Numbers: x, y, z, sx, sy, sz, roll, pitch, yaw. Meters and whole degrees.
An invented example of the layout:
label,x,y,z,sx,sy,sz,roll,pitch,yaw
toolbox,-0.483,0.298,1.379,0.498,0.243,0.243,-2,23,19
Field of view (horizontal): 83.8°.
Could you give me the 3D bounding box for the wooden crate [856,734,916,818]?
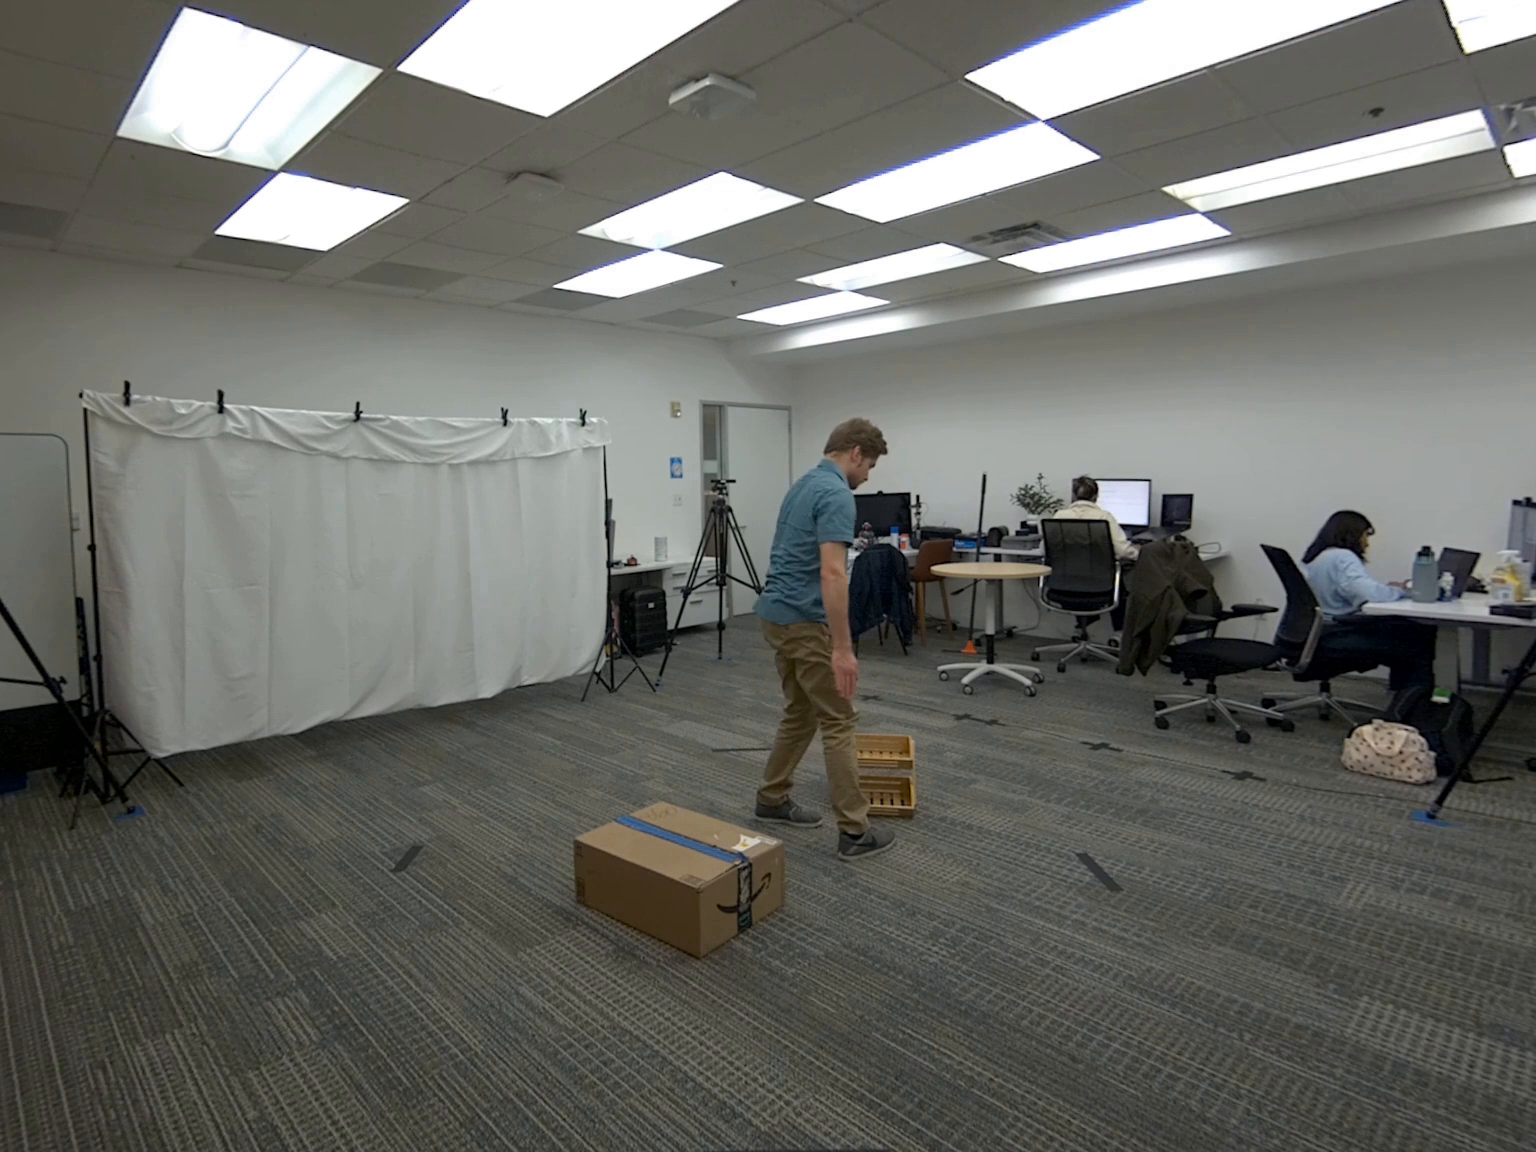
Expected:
label,x,y,z,sx,sy,sz,roll,pitch,yaw
wooden crate,0.465,0.841,3.645,0.327,0.272,0.300,0,4,8
